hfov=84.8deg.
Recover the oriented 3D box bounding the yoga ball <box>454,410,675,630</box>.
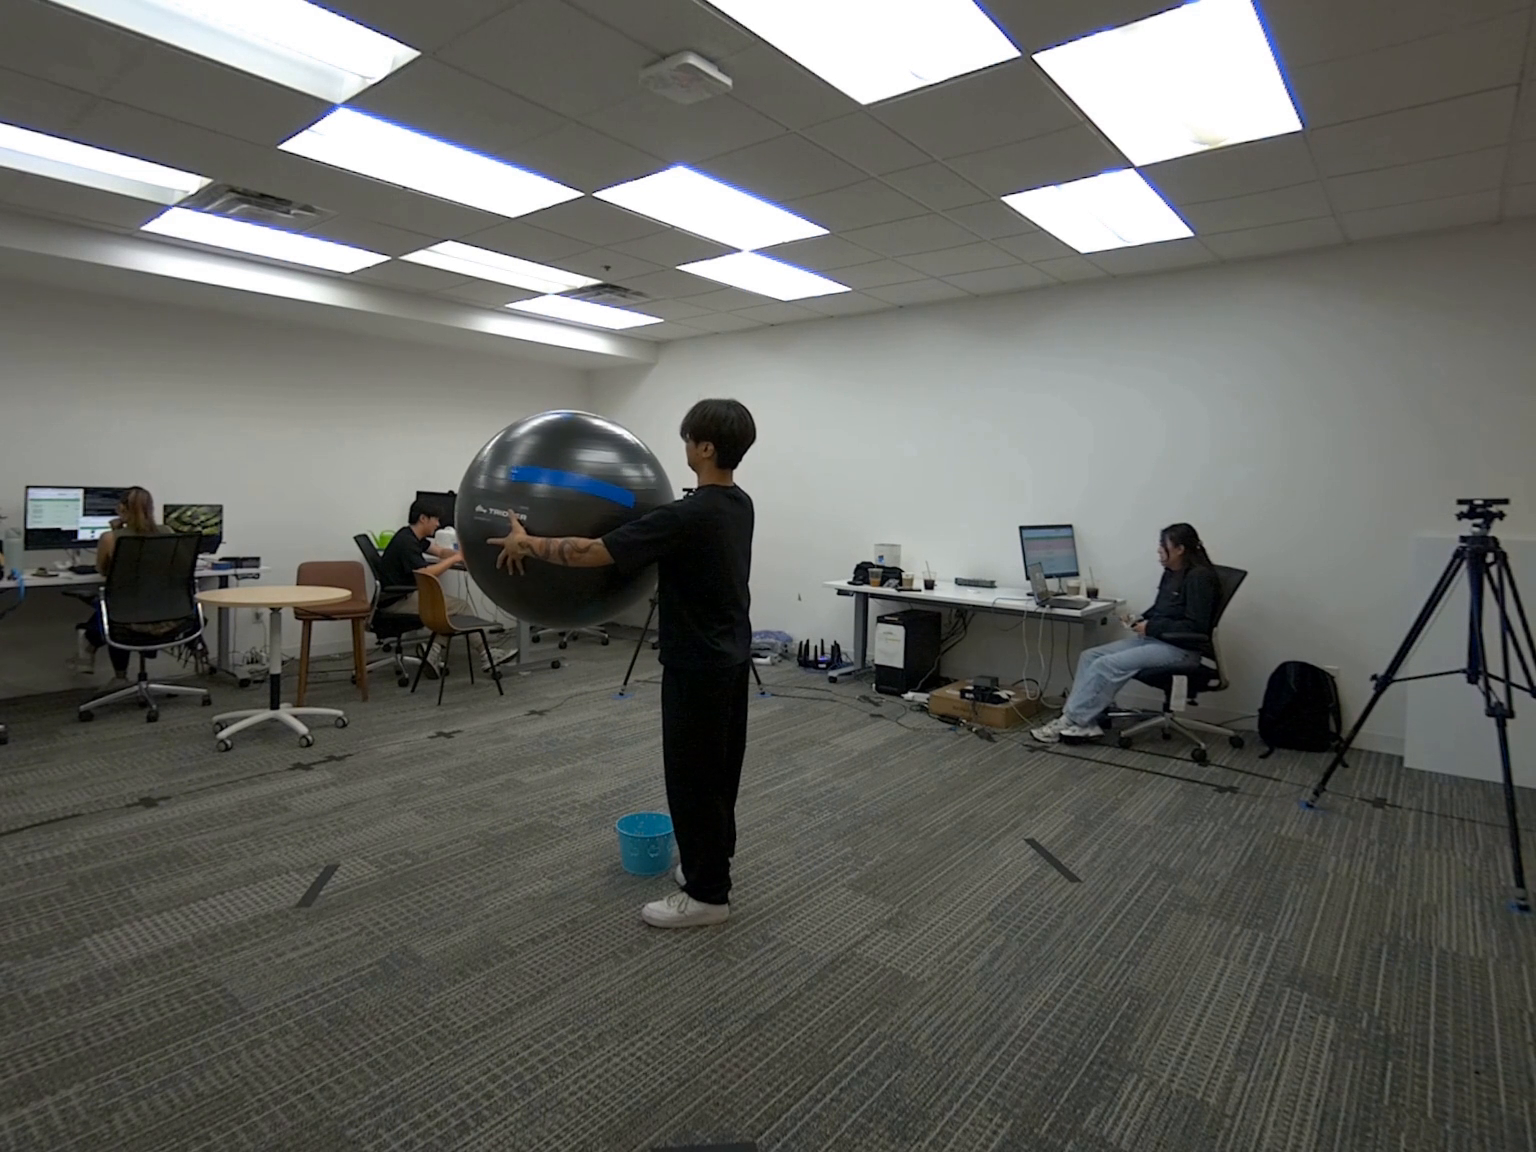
[{"bbox_3d":[-0.714,-0.192,2.980,0.757,0.756,0.761,1,4,-2],"label":"yoga ball"}]
